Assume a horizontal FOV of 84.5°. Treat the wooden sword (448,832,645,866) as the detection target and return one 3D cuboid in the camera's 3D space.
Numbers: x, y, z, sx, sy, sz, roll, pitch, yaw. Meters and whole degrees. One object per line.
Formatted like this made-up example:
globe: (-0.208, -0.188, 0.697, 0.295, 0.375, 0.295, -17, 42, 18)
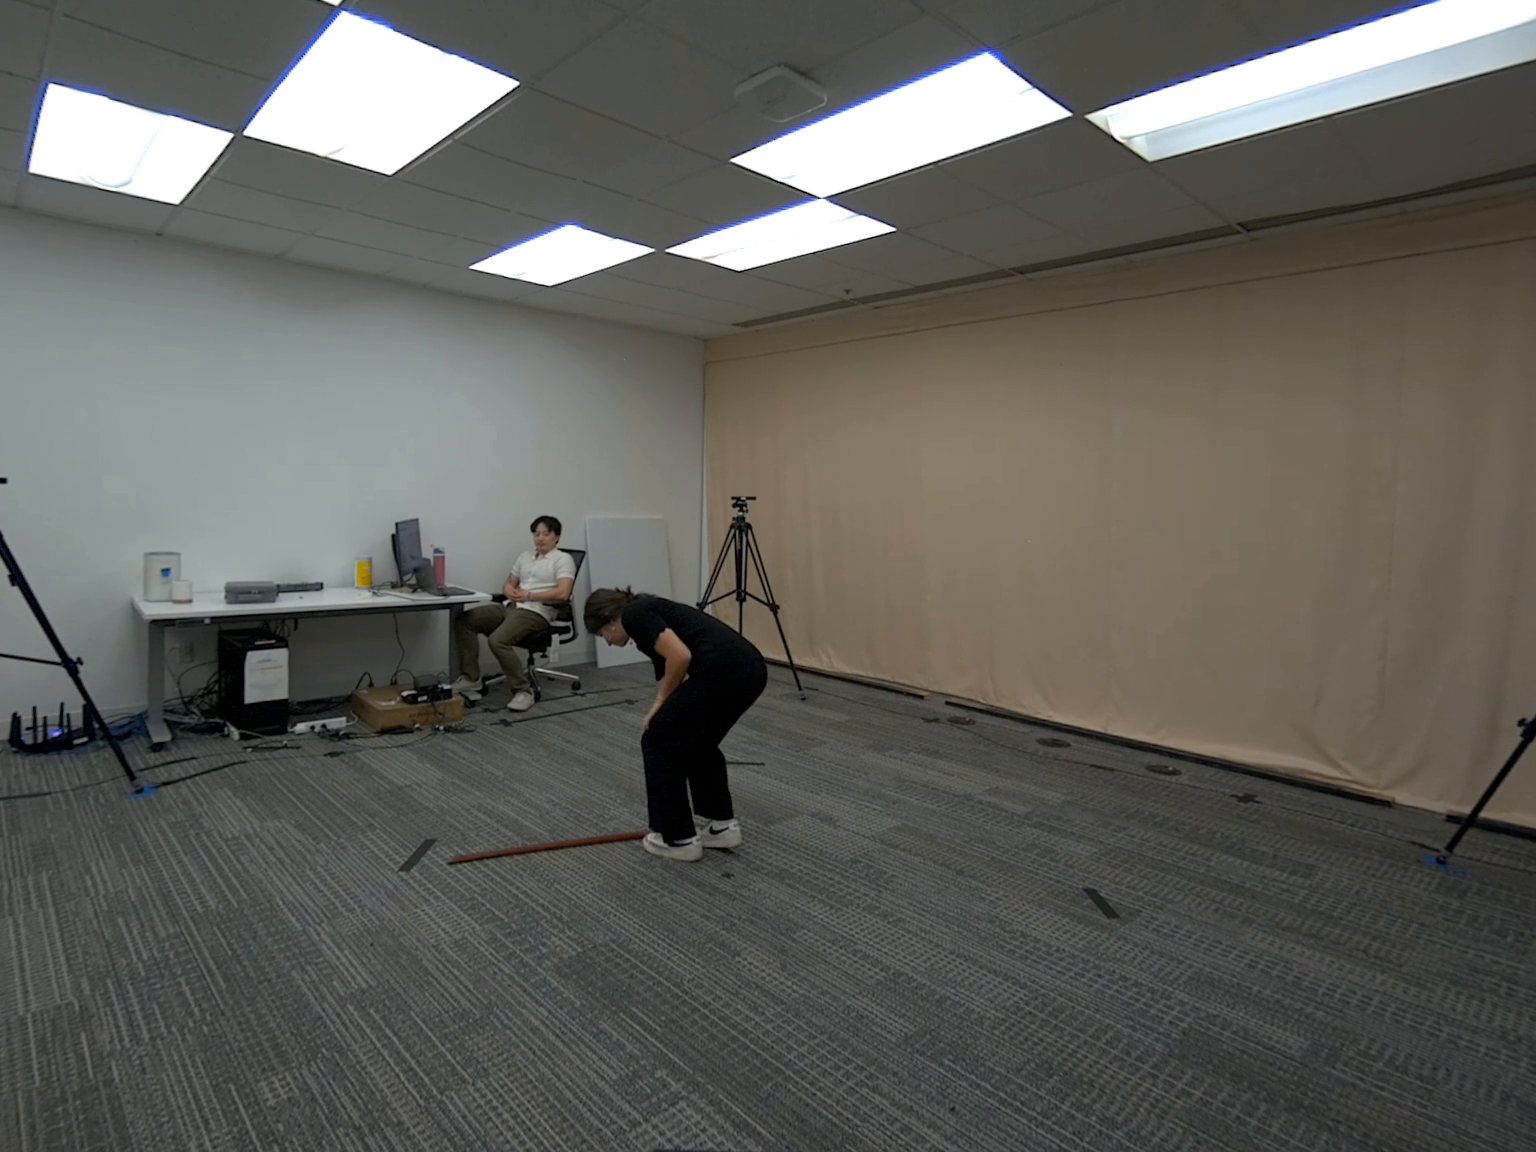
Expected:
wooden sword: (-0.736, 1.051, 3.334, 1.009, 0.024, 0.052, -1, 5, -21)
